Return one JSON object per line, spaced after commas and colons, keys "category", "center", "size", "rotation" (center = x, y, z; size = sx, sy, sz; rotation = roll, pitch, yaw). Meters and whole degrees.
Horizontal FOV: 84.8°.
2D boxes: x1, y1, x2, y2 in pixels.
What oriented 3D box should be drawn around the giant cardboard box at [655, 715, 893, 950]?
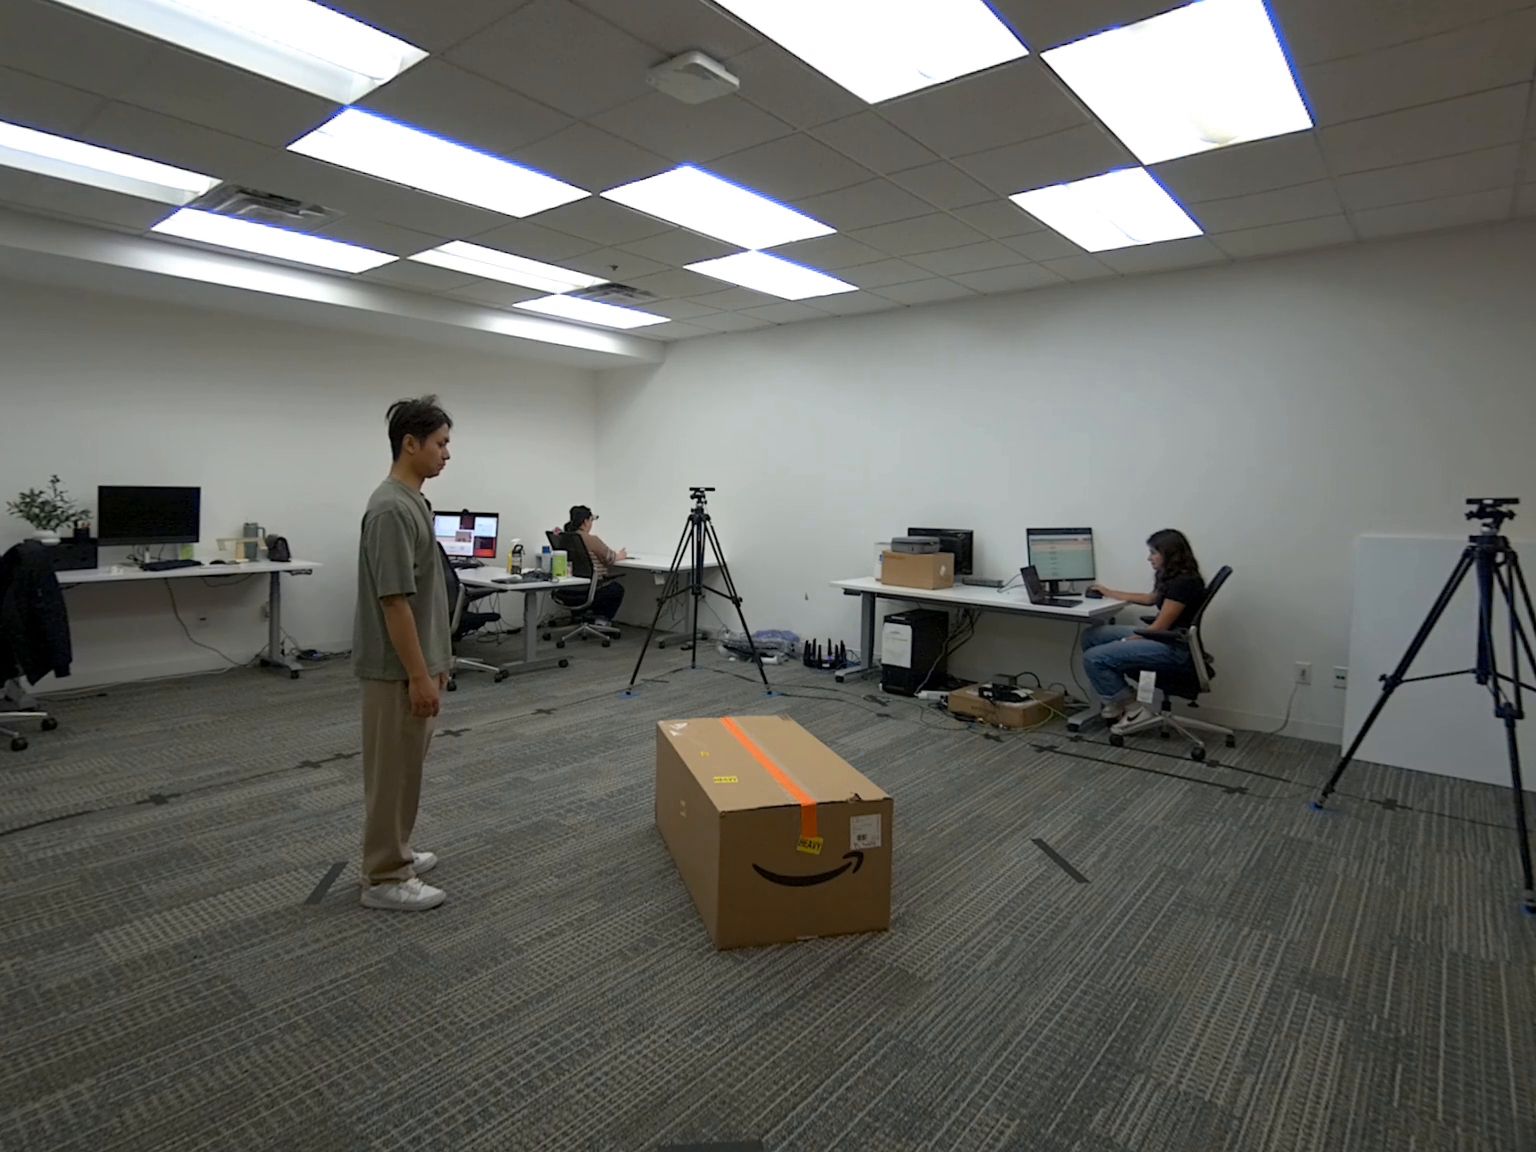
{"category": "giant cardboard box", "center": [-0.043, 0.852, 3.102], "size": [0.568, 0.424, 1.047], "rotation": [-1, 6, -17]}
